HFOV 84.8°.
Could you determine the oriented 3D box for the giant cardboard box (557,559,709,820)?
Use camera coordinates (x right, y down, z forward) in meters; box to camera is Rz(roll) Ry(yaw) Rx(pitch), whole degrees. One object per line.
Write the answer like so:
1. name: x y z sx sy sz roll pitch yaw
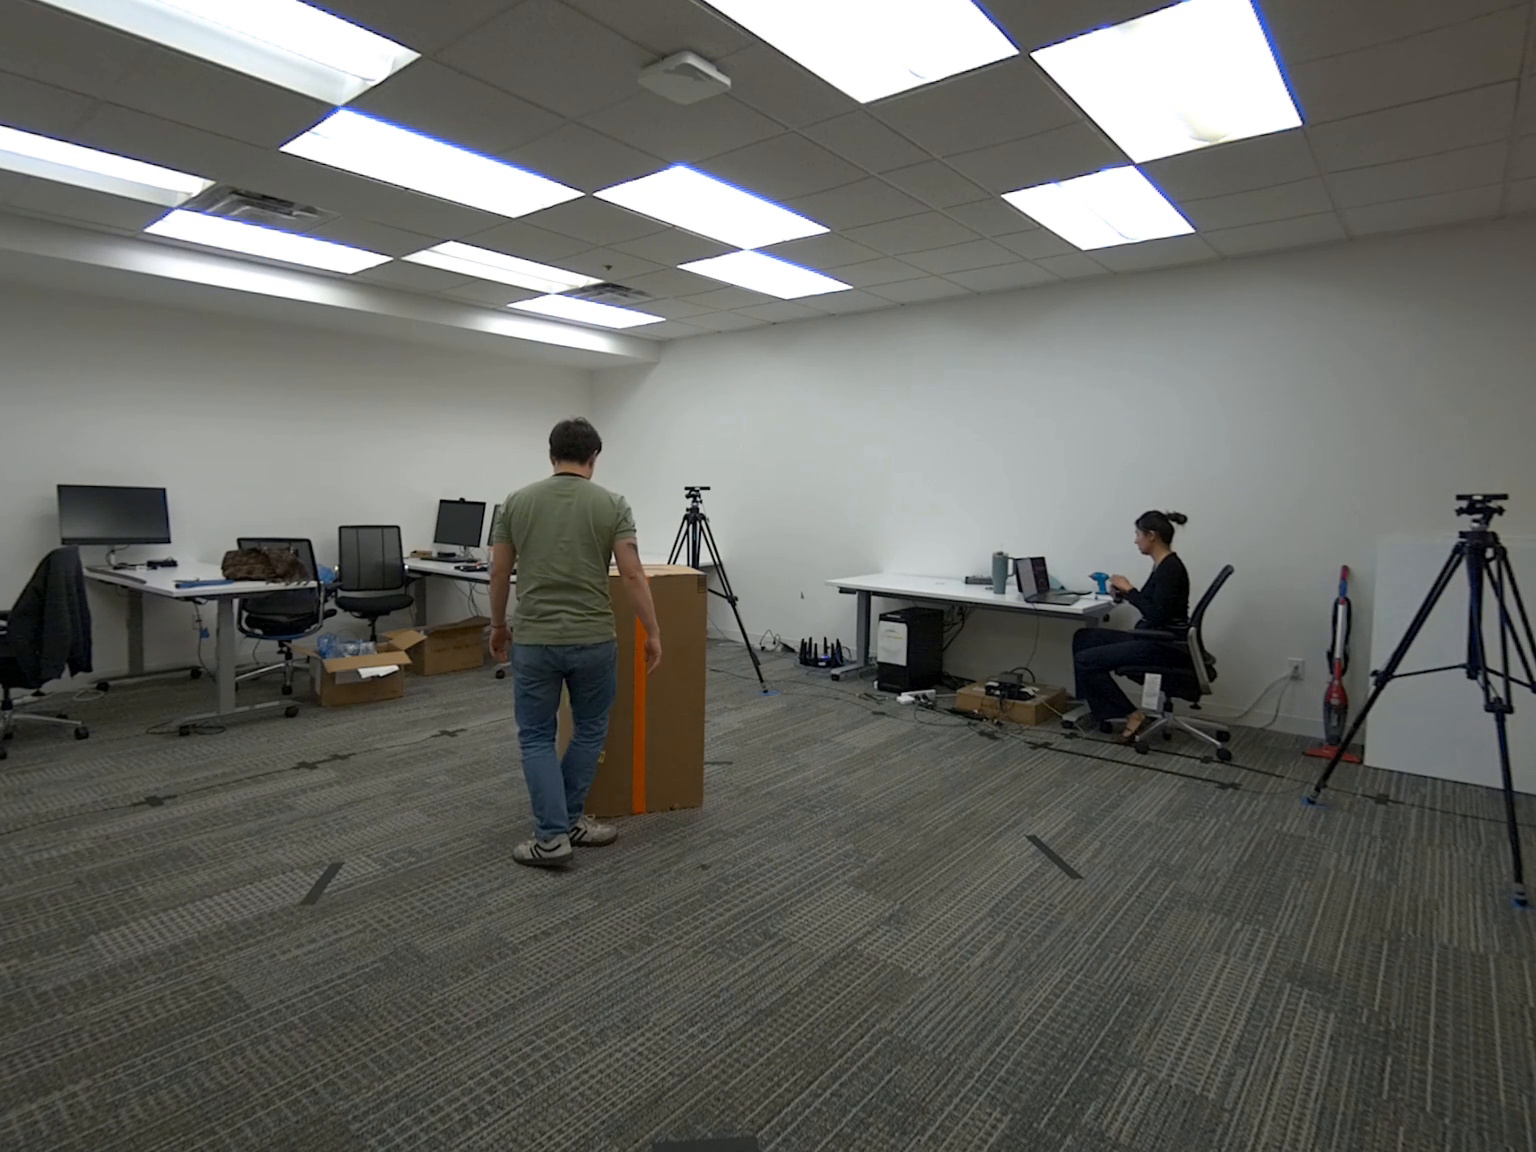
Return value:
1. giant cardboard box: -0.620 0.481 3.798 0.566 1.023 0.436 0 3 -21
